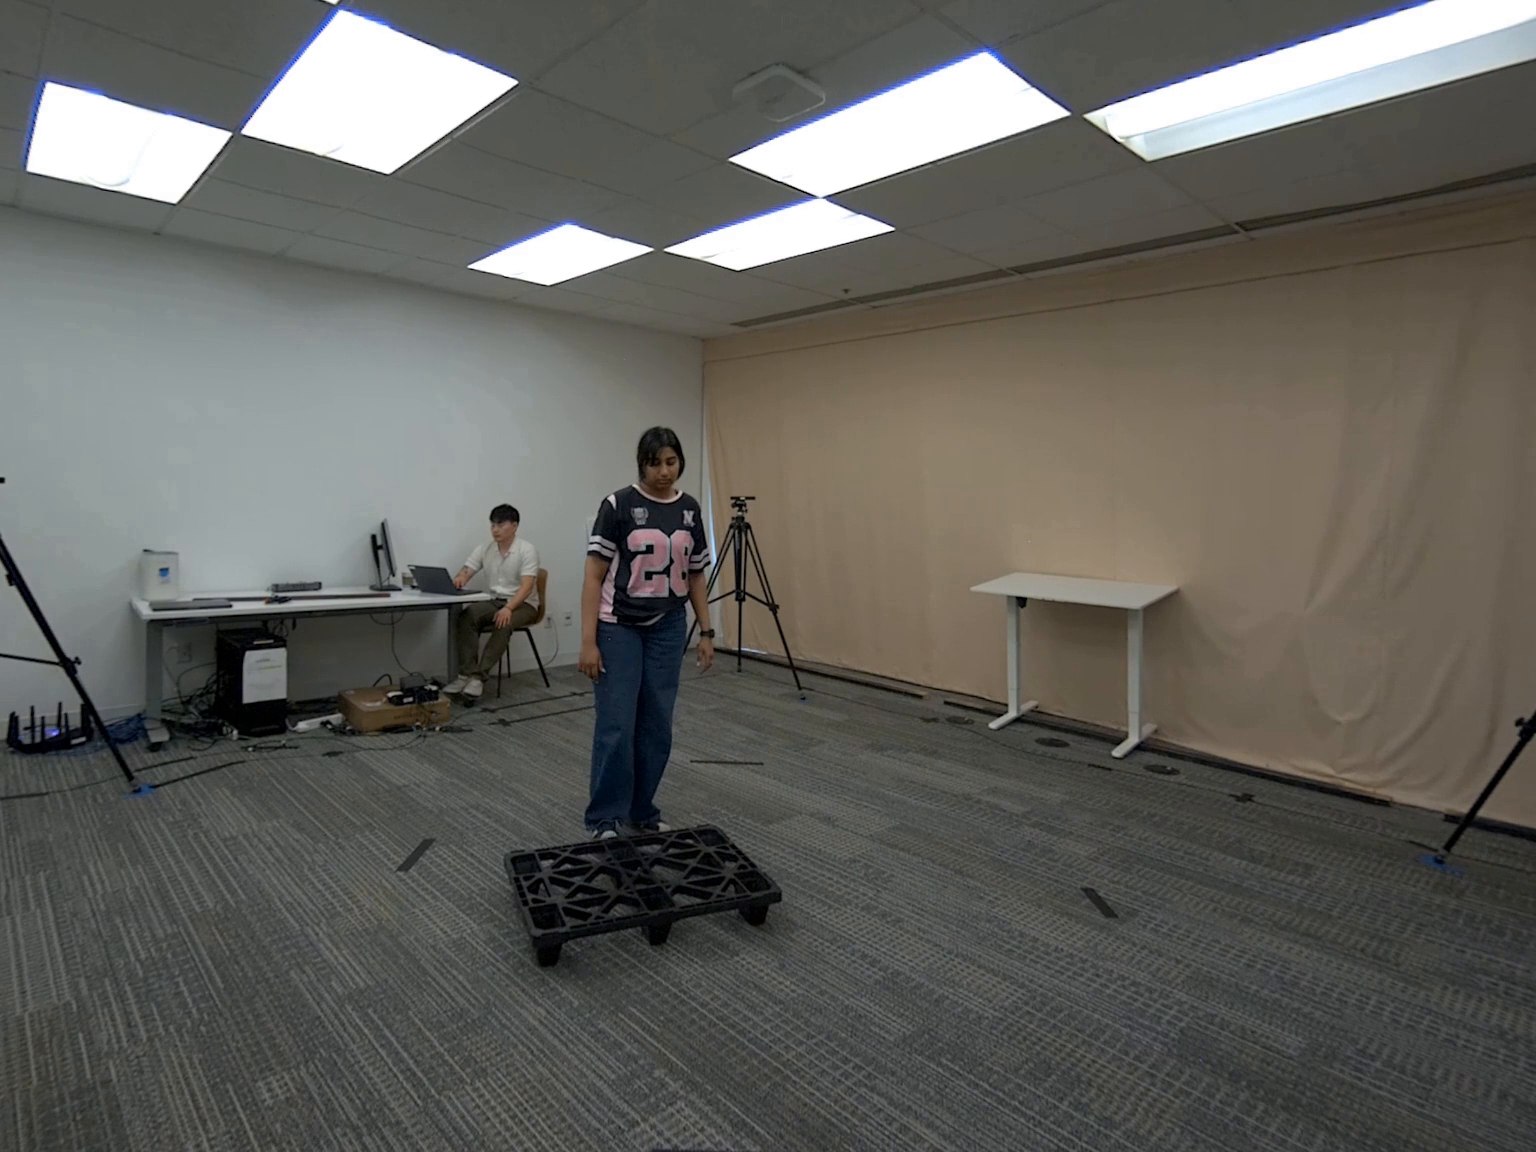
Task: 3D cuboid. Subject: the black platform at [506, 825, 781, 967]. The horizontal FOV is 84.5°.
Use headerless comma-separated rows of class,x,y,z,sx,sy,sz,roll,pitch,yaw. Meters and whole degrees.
black platform,-0.438,1.057,2.817,0.792,0.143,0.618,-1,6,-24
